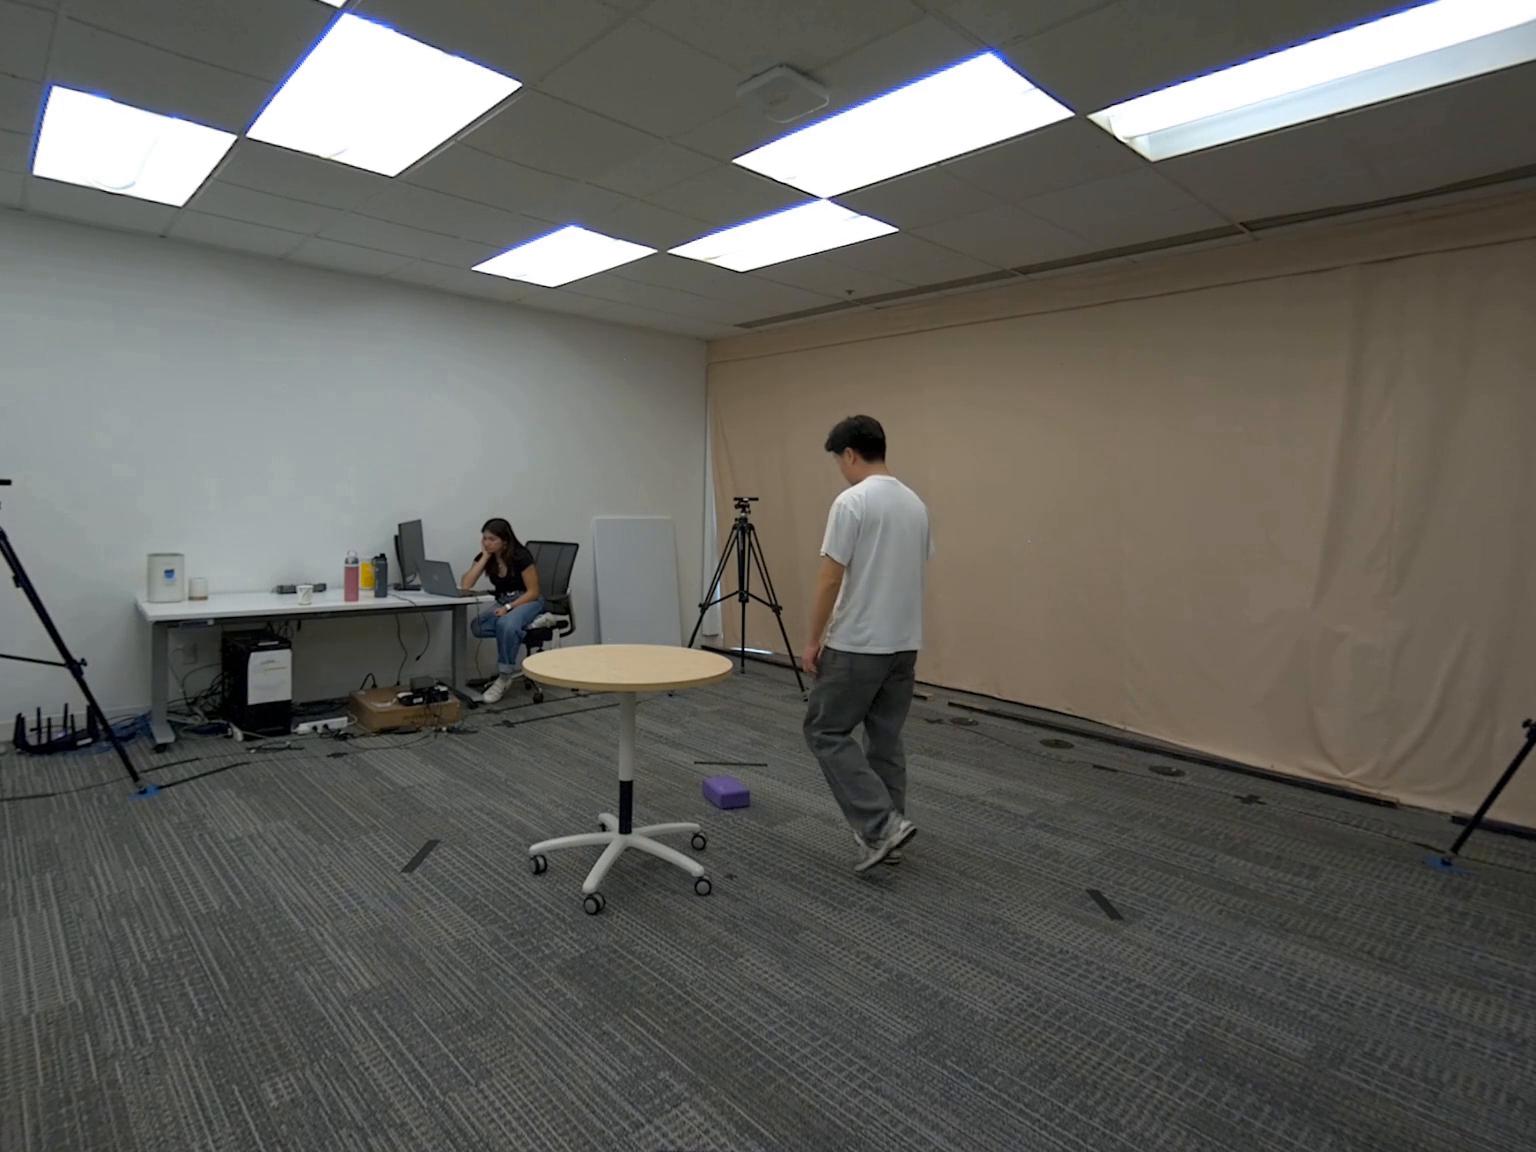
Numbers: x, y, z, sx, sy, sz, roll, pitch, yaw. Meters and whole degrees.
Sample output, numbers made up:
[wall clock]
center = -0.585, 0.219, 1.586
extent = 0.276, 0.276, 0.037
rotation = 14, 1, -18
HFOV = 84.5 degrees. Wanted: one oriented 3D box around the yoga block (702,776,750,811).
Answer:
[yoga block]
center = -0.206, 1.003, 3.892
extent = 0.146, 0.076, 0.234
rotation = -1, 5, -25
